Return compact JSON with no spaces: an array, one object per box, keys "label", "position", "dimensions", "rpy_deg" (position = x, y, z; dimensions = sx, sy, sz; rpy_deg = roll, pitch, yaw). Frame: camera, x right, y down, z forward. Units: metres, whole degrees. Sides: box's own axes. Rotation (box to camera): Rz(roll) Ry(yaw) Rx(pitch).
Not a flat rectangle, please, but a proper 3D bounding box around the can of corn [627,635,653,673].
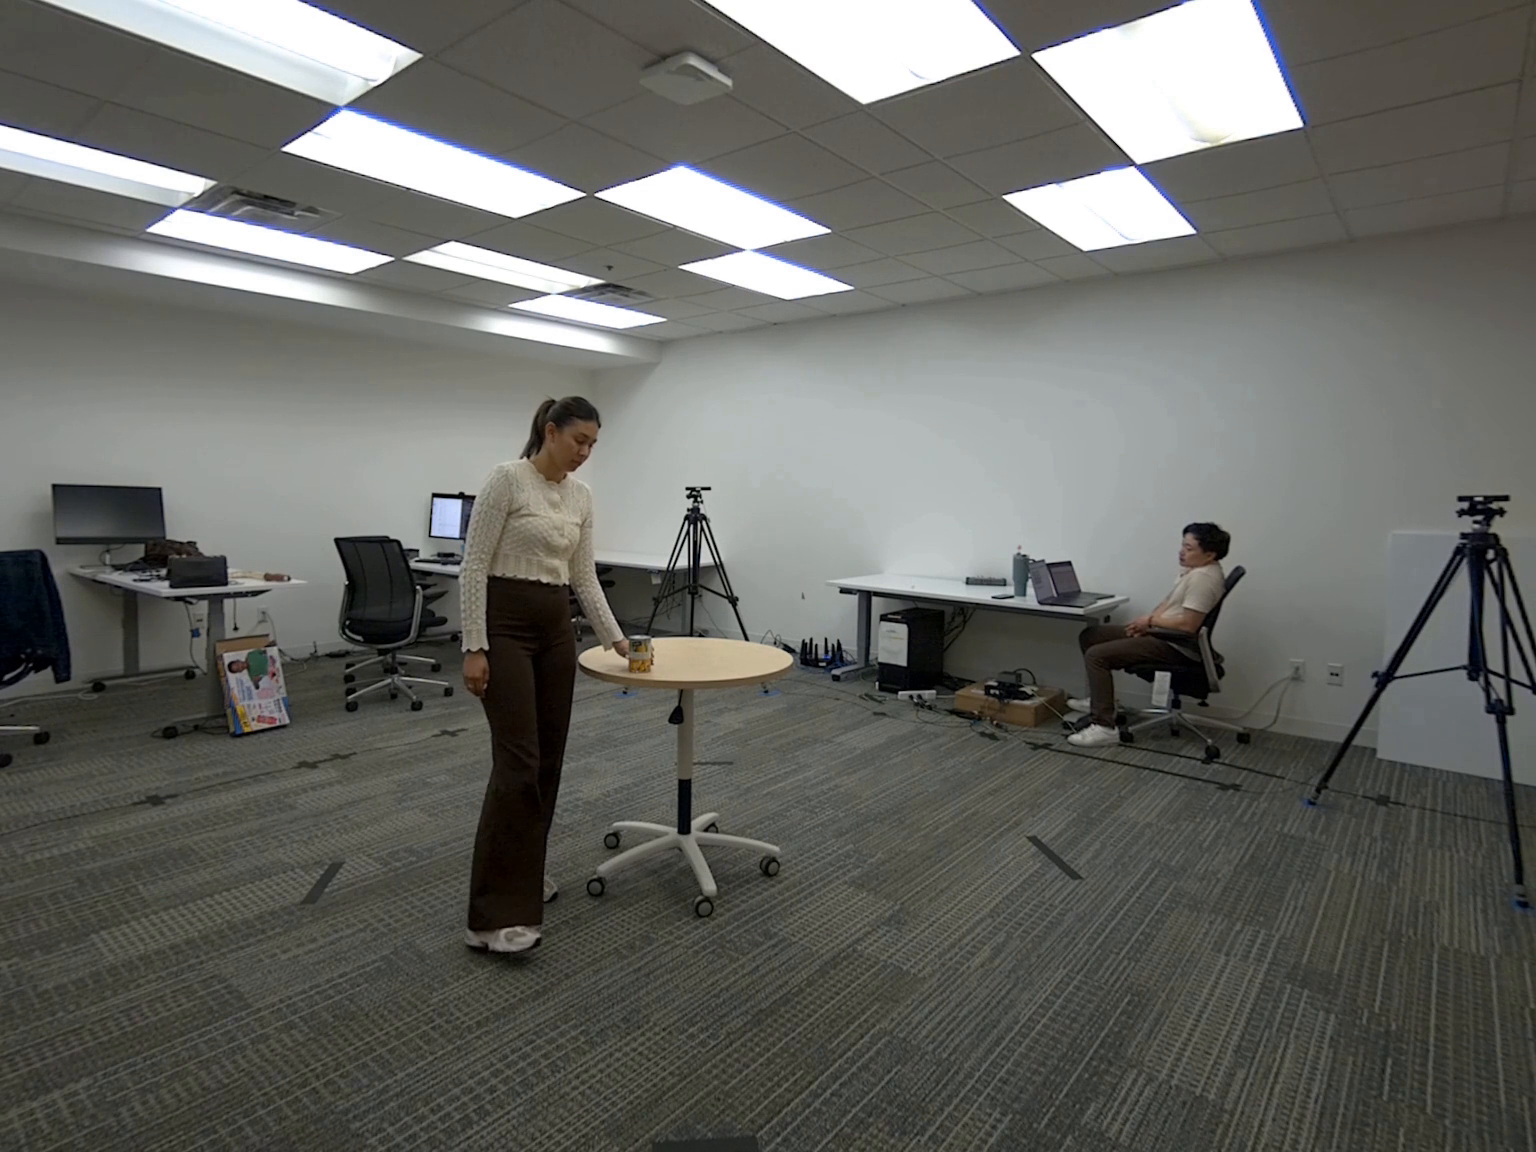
[{"label":"can of corn","position":[-0.433,0.256,2.802],"dimensions":[0.074,0.111,0.074],"rpy_deg":[0,1,-2]}]
